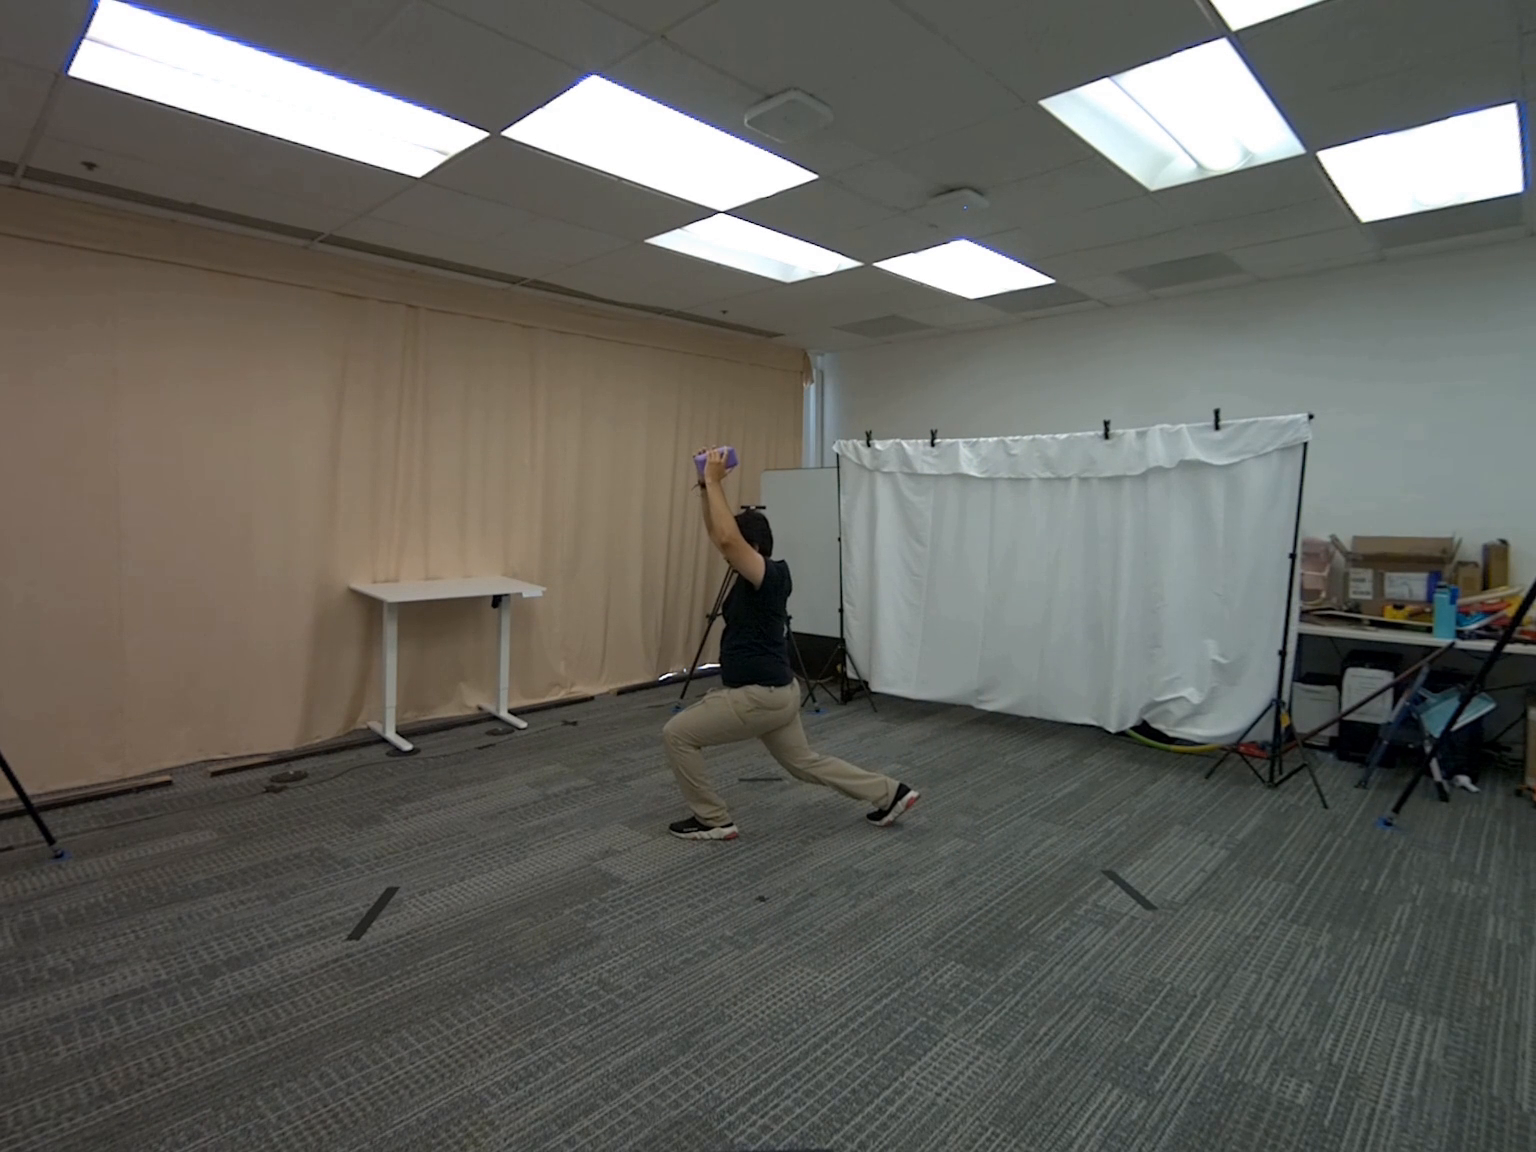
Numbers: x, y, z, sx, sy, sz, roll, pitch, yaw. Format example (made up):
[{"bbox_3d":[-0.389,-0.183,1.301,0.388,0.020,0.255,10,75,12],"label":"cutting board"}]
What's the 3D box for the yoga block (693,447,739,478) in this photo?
[{"bbox_3d":[-0.215,-0.476,3.490,0.148,0.076,0.233,-21,12,-8],"label":"yoga block"}]
